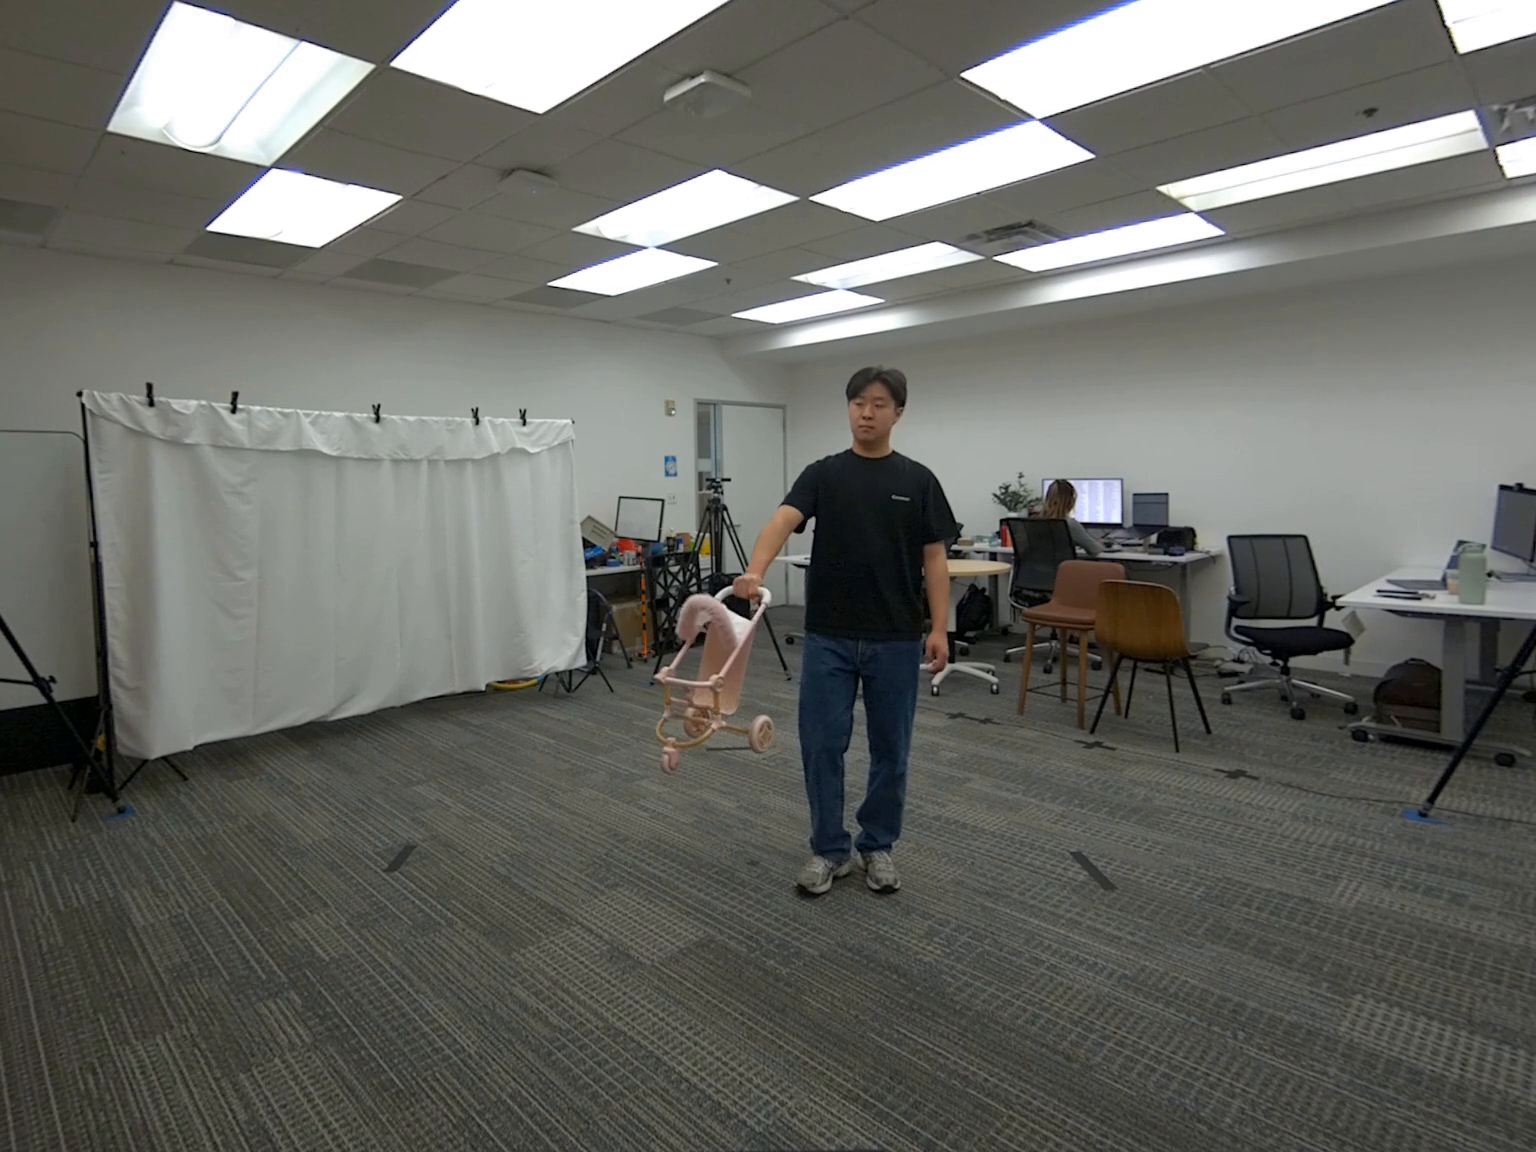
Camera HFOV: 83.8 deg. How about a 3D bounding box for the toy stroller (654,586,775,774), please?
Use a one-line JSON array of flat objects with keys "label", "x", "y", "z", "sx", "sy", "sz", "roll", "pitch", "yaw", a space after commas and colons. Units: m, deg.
[{"label": "toy stroller", "x": -0.169, "y": 0.294, "z": 2.489, "sx": 0.290, "sy": 0.536, "sz": 0.330, "roll": 1, "pitch": -4, "yaw": 41}]
